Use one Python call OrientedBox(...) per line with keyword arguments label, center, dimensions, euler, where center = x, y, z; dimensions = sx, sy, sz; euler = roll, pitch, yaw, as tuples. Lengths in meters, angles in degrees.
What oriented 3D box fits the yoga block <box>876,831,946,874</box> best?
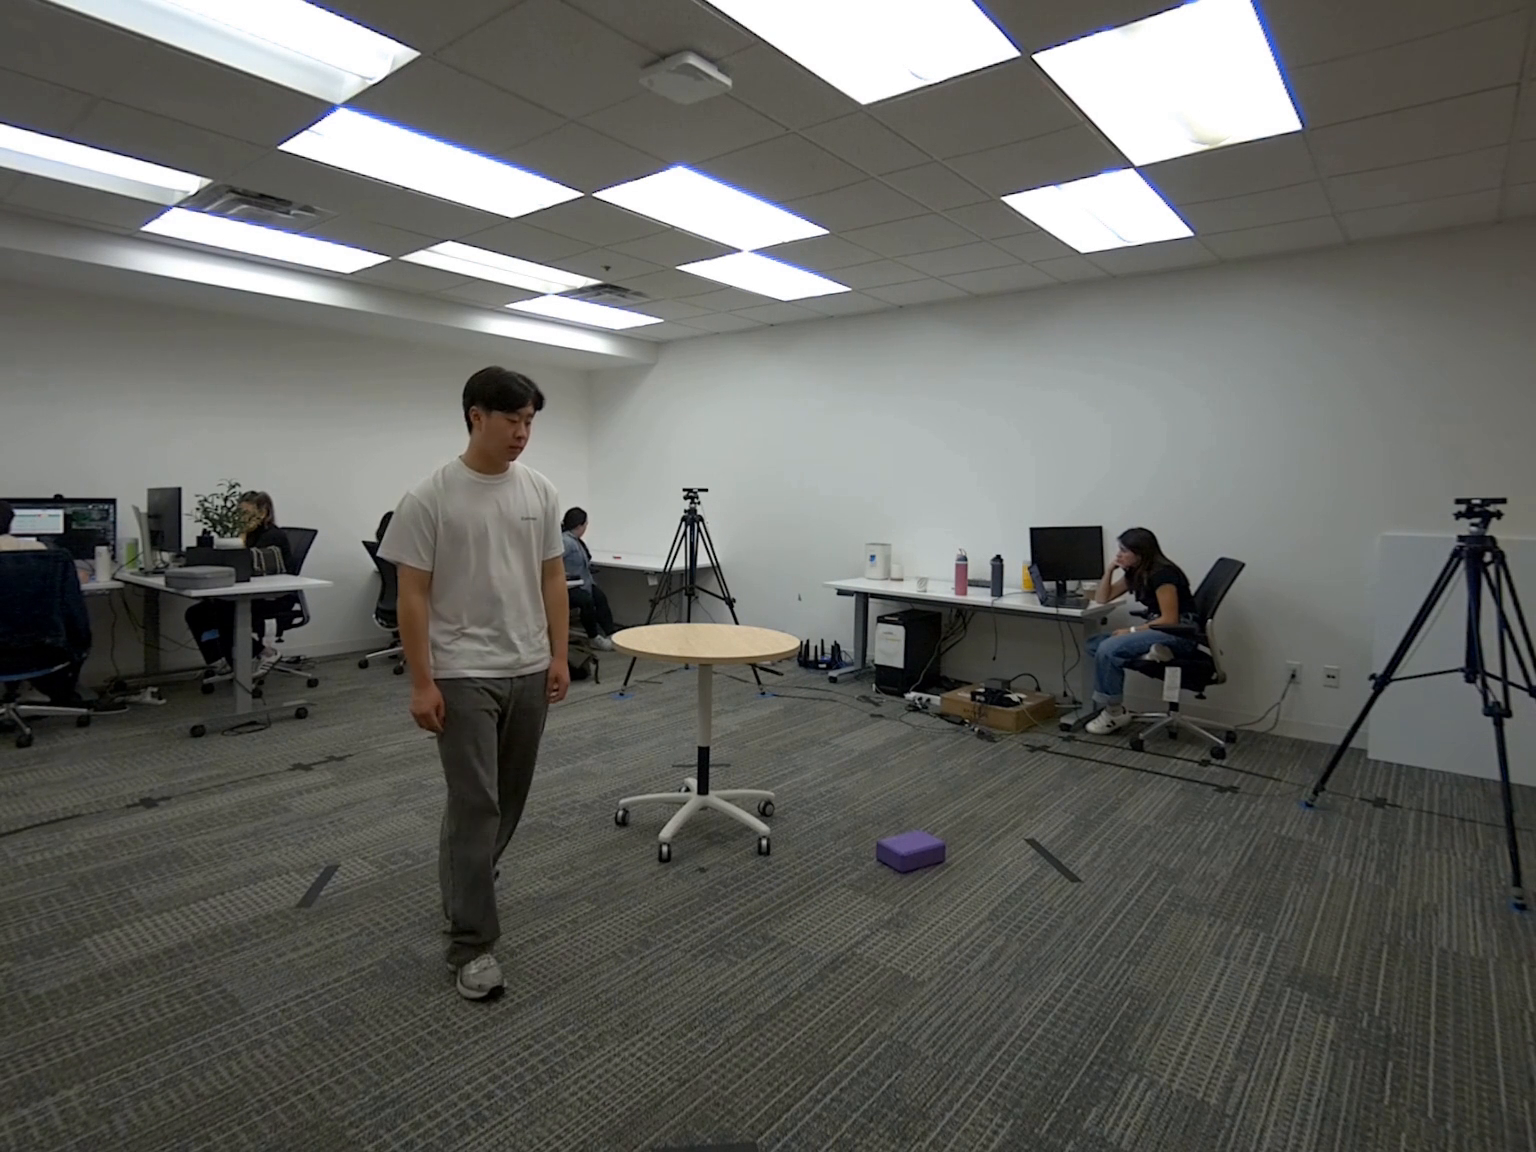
OrientedBox(label="yoga block", center=(0.546, 1.030, 3.223), dimensions=(0.223, 0.076, 0.154), euler=(-2, 6, -32))
